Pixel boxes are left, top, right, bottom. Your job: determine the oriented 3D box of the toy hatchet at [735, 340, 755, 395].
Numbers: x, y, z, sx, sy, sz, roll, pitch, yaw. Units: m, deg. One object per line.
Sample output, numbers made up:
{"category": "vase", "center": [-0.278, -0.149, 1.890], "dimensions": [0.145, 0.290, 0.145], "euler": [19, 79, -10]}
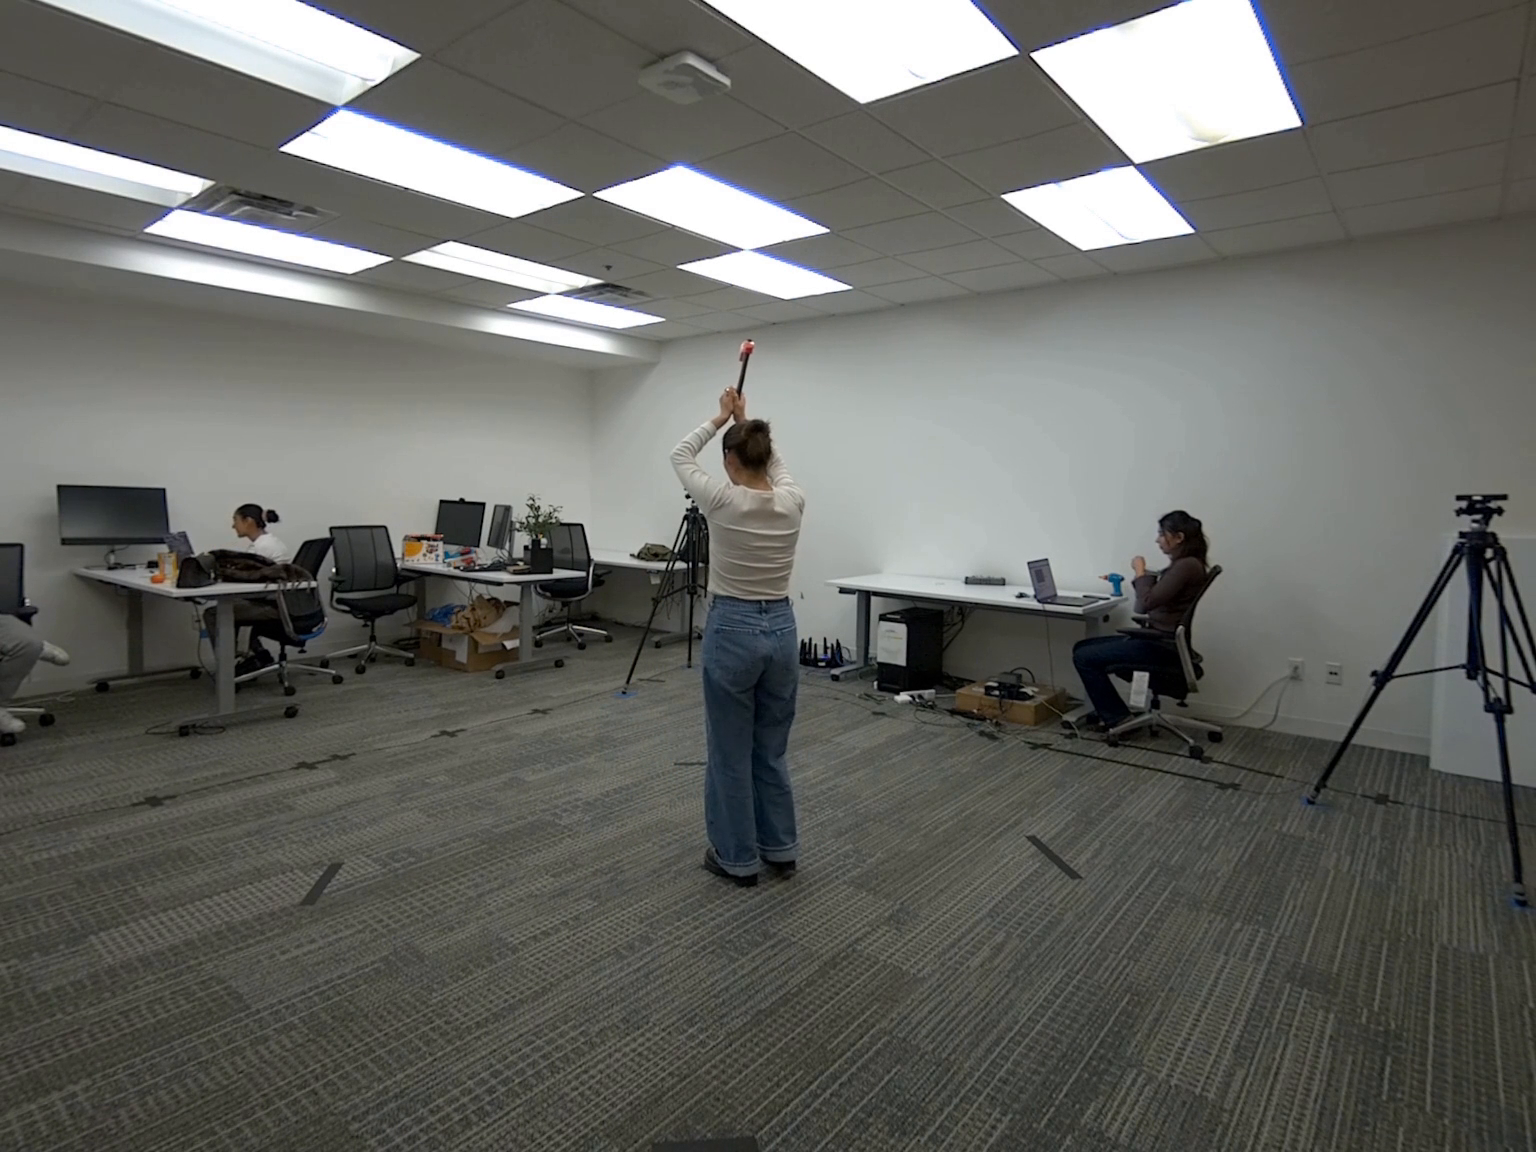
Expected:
{"category": "toy hatchet", "center": [-0.115, -0.746, 3.121], "dimensions": [0.029, 0.266, 0.136], "euler": [6, 28, -24]}
